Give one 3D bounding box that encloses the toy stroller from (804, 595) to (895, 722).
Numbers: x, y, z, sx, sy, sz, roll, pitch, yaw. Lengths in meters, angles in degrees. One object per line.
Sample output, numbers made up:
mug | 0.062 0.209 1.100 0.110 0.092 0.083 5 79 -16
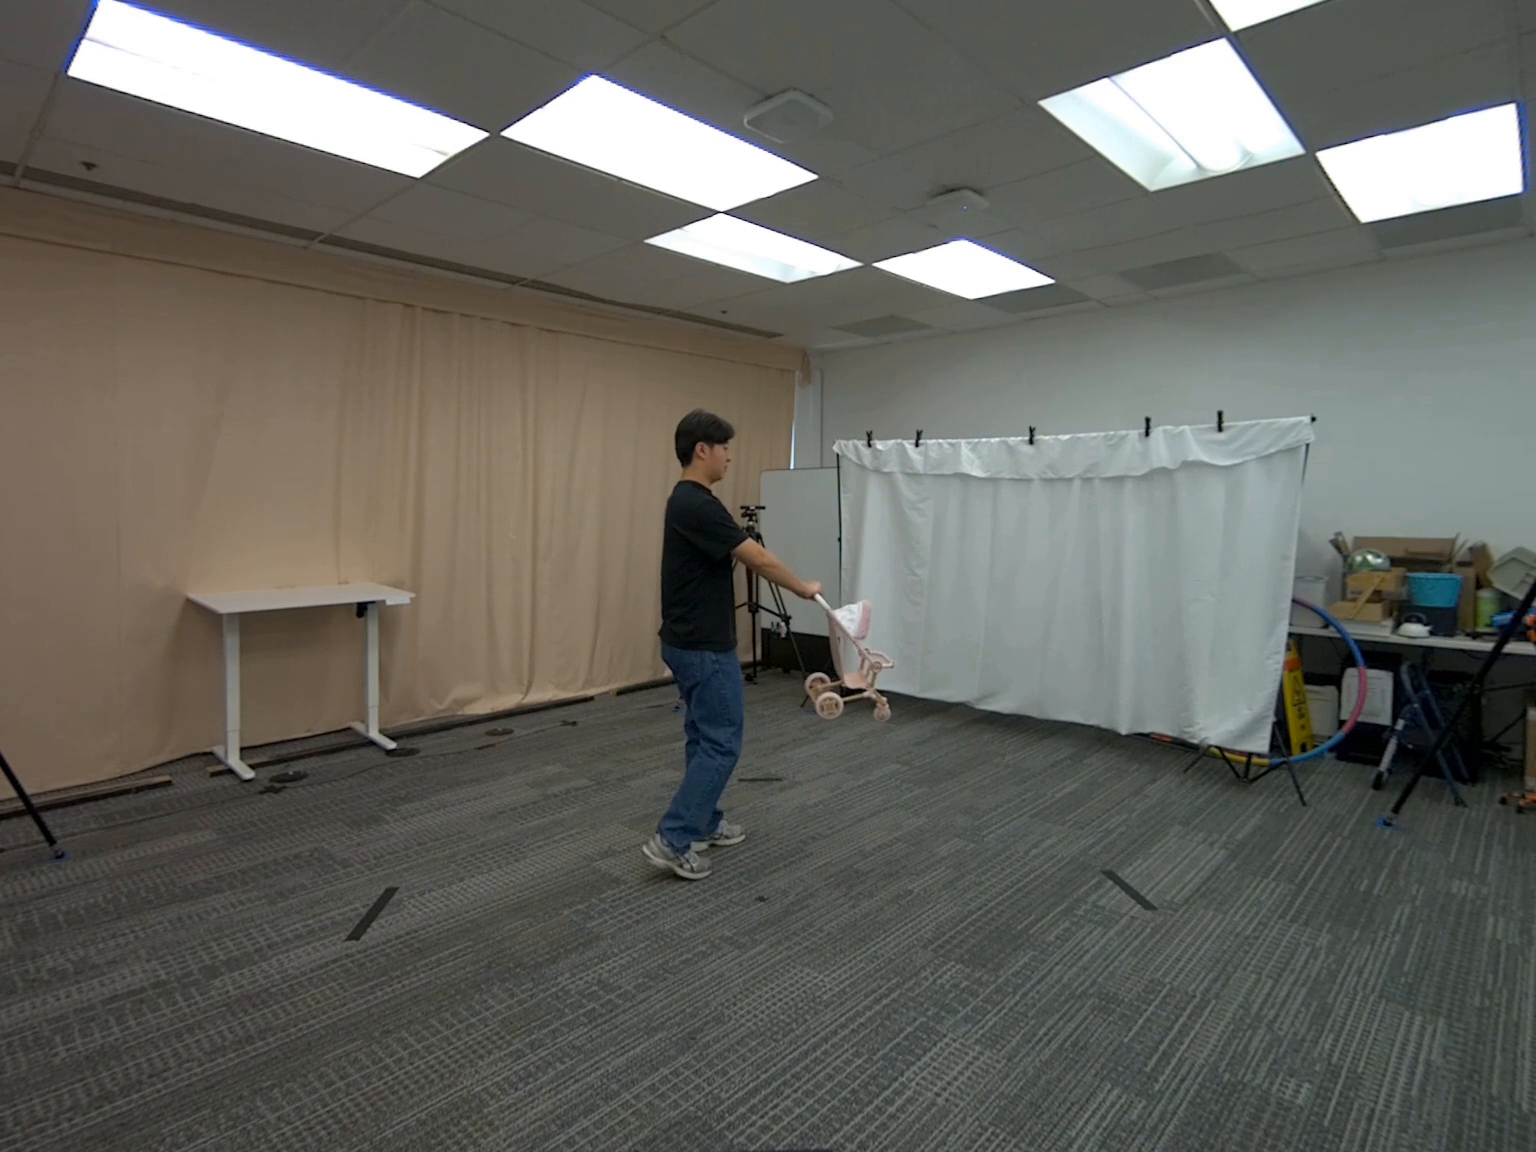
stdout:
toy stroller | 0.336 0.330 3.344 0.341 0.532 0.283 2 8 -2
